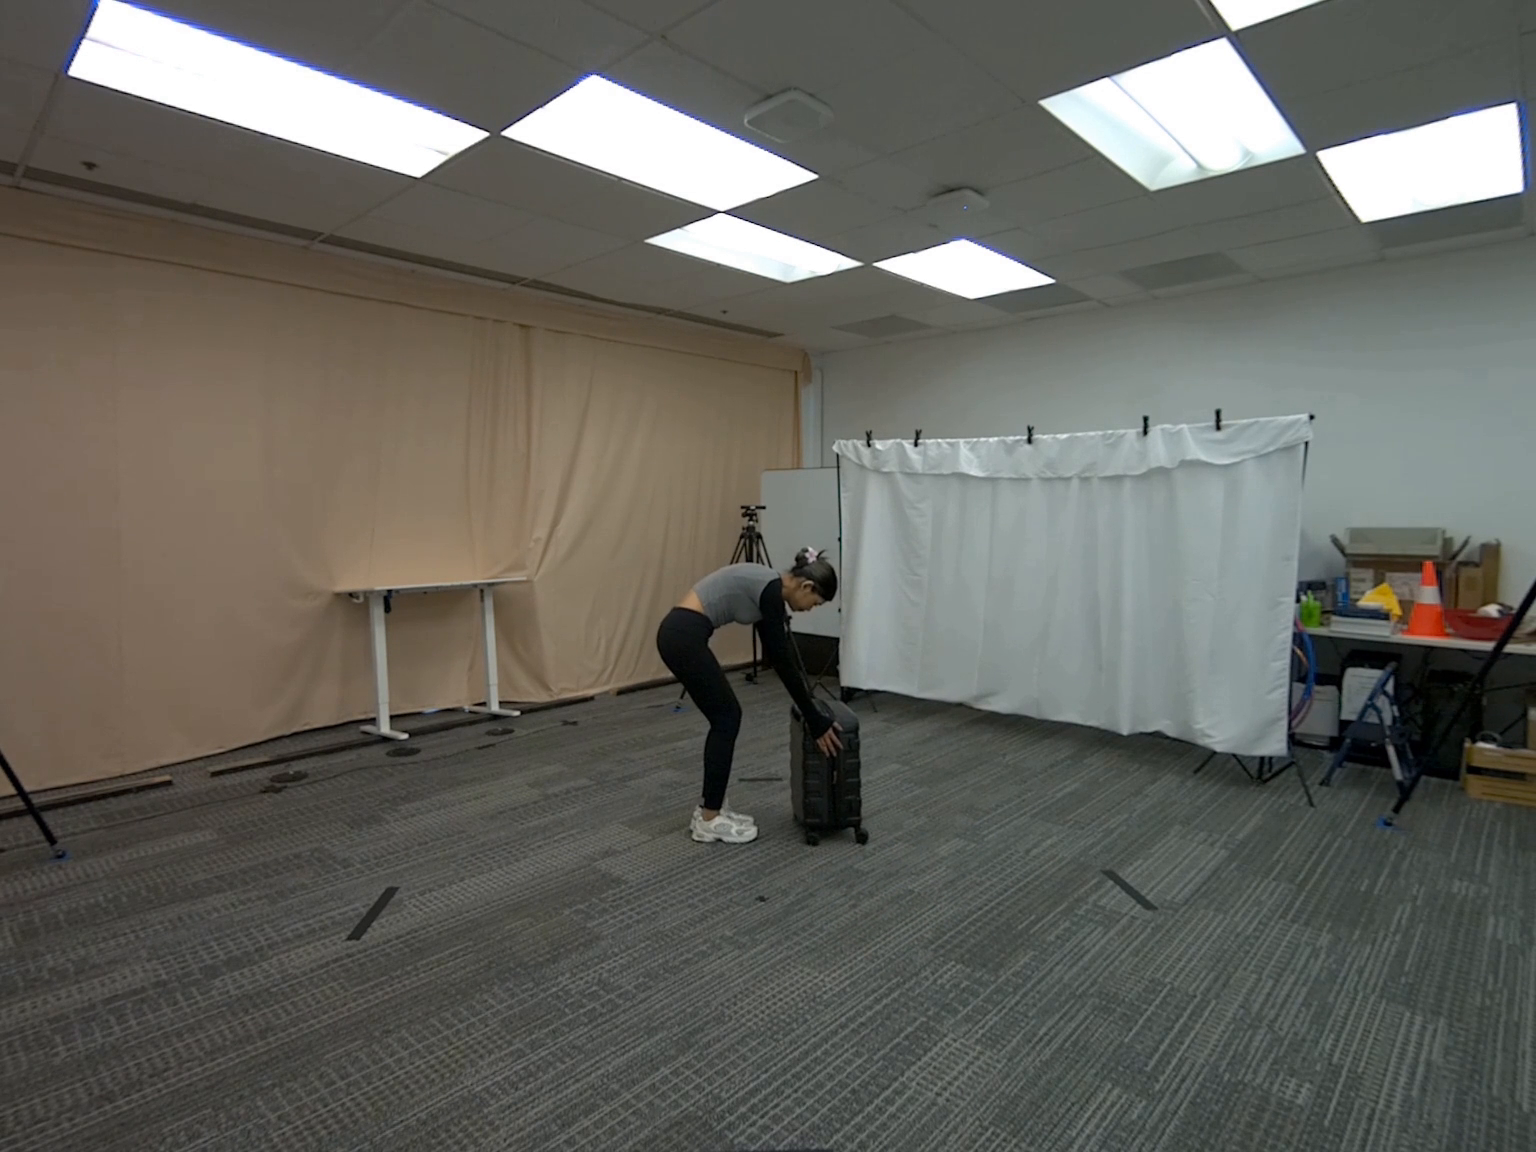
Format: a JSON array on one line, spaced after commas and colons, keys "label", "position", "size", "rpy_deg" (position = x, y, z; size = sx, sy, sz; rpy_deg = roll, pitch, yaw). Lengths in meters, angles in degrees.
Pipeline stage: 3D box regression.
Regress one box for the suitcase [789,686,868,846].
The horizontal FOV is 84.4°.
[{"label": "suitcase", "position": [0.244, 0.814, 3.609], "size": [0.247, 0.548, 0.378], "rpy_deg": [-1, 3, -7]}]
